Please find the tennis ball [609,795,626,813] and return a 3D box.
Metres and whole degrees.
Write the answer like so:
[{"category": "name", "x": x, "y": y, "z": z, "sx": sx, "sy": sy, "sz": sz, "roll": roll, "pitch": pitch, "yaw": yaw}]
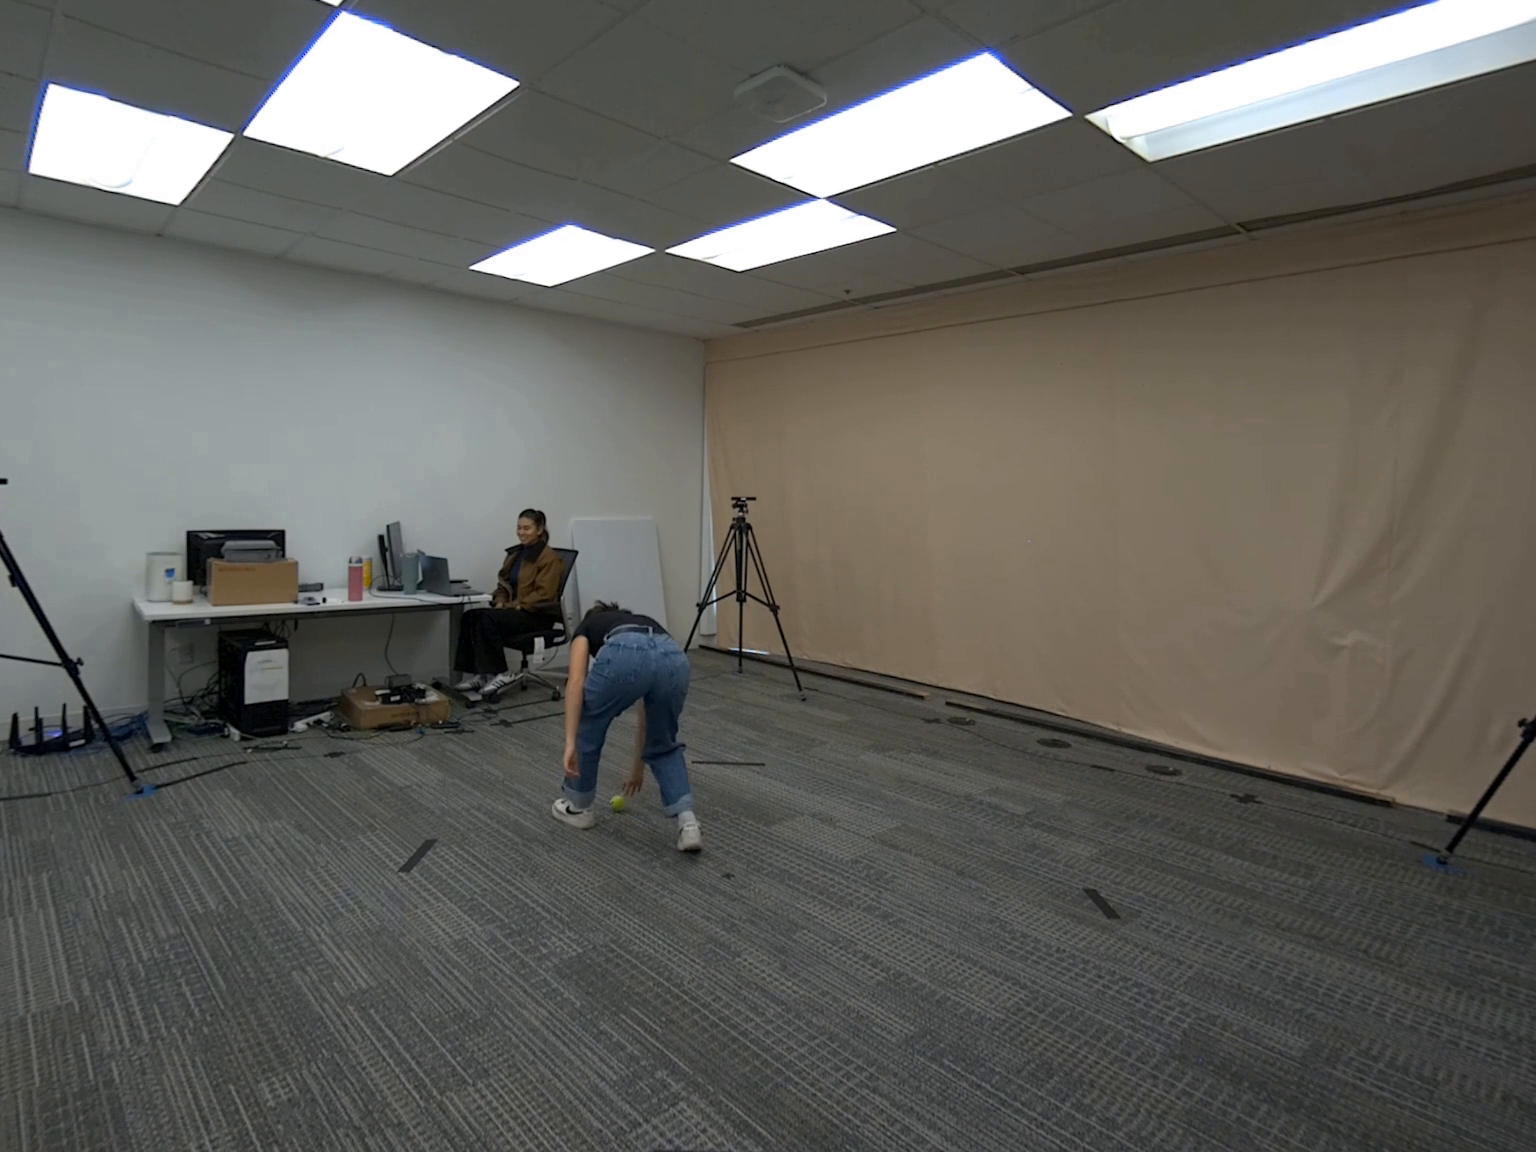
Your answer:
[{"category": "tennis ball", "x": -0.669, "y": 0.993, "z": 3.724, "sx": 0.066, "sy": 0.066, "sz": 0.067, "roll": 1, "pitch": 4, "yaw": -1}]
